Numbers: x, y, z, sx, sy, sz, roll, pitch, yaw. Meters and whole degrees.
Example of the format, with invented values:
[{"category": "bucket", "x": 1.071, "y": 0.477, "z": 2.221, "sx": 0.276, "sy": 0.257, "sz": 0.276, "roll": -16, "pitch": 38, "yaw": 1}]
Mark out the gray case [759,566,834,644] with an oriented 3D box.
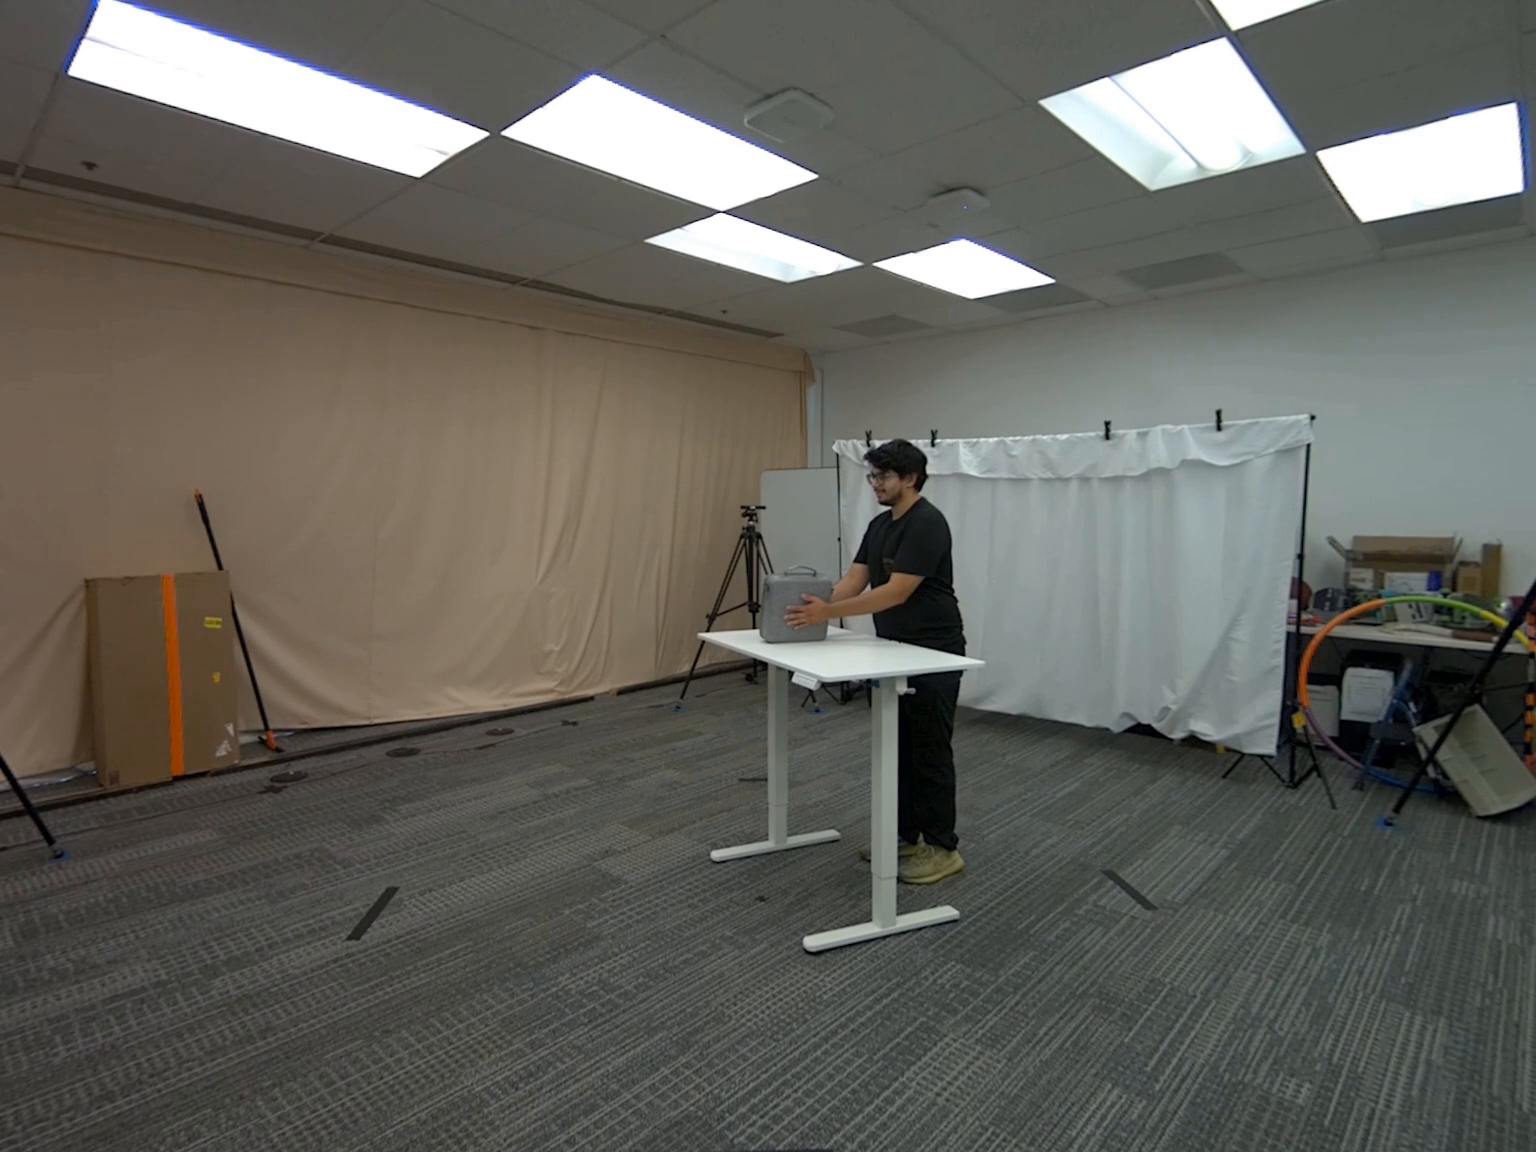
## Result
[{"category": "gray case", "x": 0.109, "y": 0.120, "z": 3.154, "sx": 0.253, "sy": 0.259, "sz": 0.106, "roll": 1, "pitch": 11, "yaw": -14}]
